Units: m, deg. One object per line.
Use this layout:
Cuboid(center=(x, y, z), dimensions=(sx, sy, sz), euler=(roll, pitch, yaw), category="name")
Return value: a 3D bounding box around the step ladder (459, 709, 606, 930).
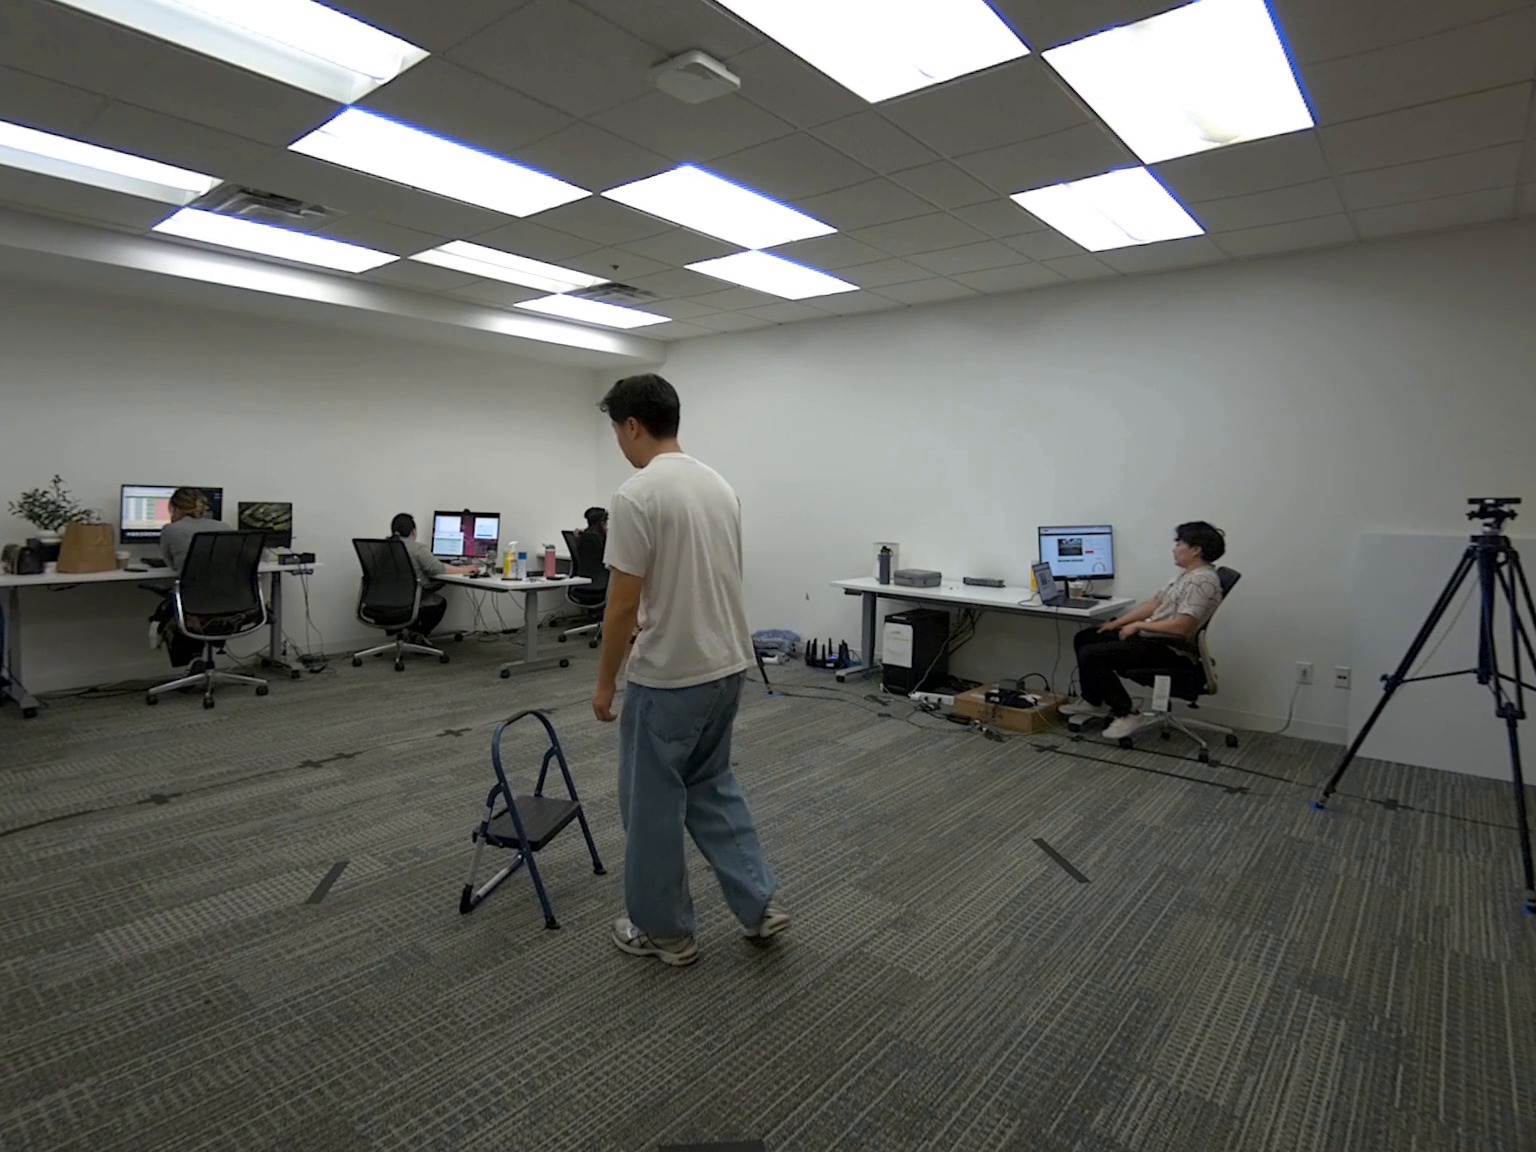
Cuboid(center=(-0.798, 0.775, 2.887), dimensions=(0.354, 0.604, 0.426), euler=(2, 4, 12), category="step ladder")
